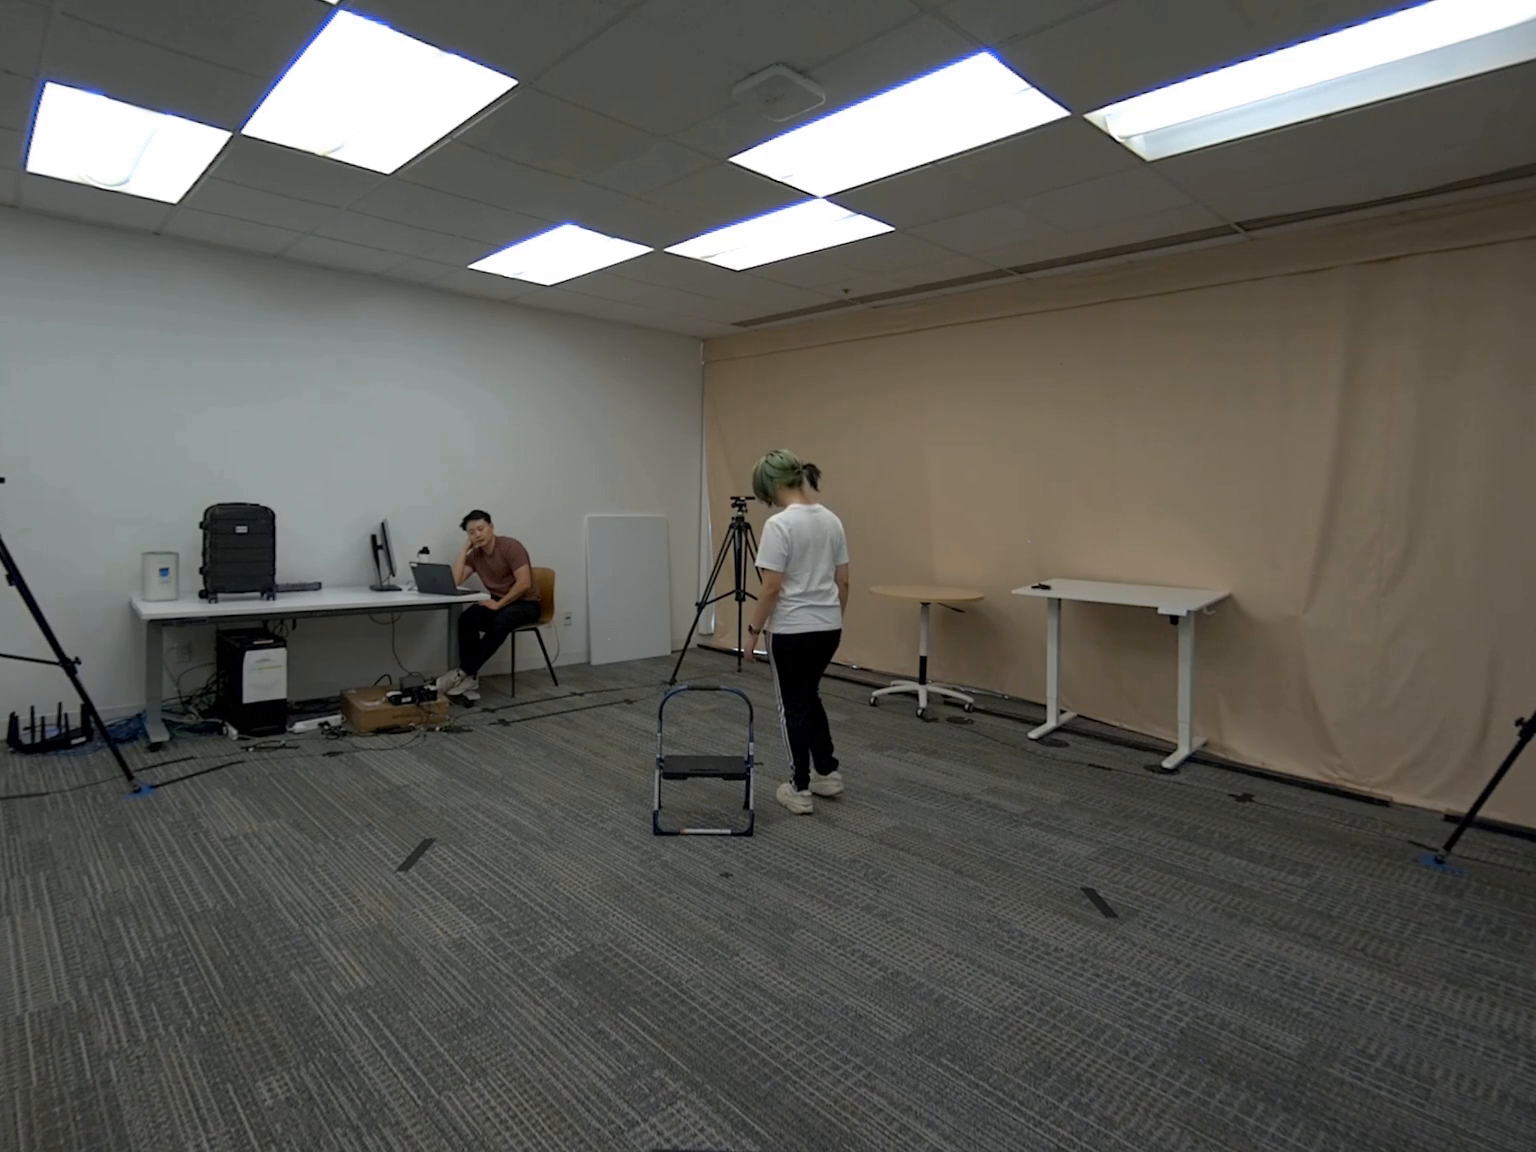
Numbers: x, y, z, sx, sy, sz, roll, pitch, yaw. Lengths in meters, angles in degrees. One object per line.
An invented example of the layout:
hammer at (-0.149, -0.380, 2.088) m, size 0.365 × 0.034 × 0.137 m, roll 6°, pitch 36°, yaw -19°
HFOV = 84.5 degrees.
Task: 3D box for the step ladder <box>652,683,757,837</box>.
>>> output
step ladder at (-0.281, 0.757, 3.615) m, size 0.429 × 0.605 × 0.351 m, roll 1°, pitch 3°, yaw -4°
